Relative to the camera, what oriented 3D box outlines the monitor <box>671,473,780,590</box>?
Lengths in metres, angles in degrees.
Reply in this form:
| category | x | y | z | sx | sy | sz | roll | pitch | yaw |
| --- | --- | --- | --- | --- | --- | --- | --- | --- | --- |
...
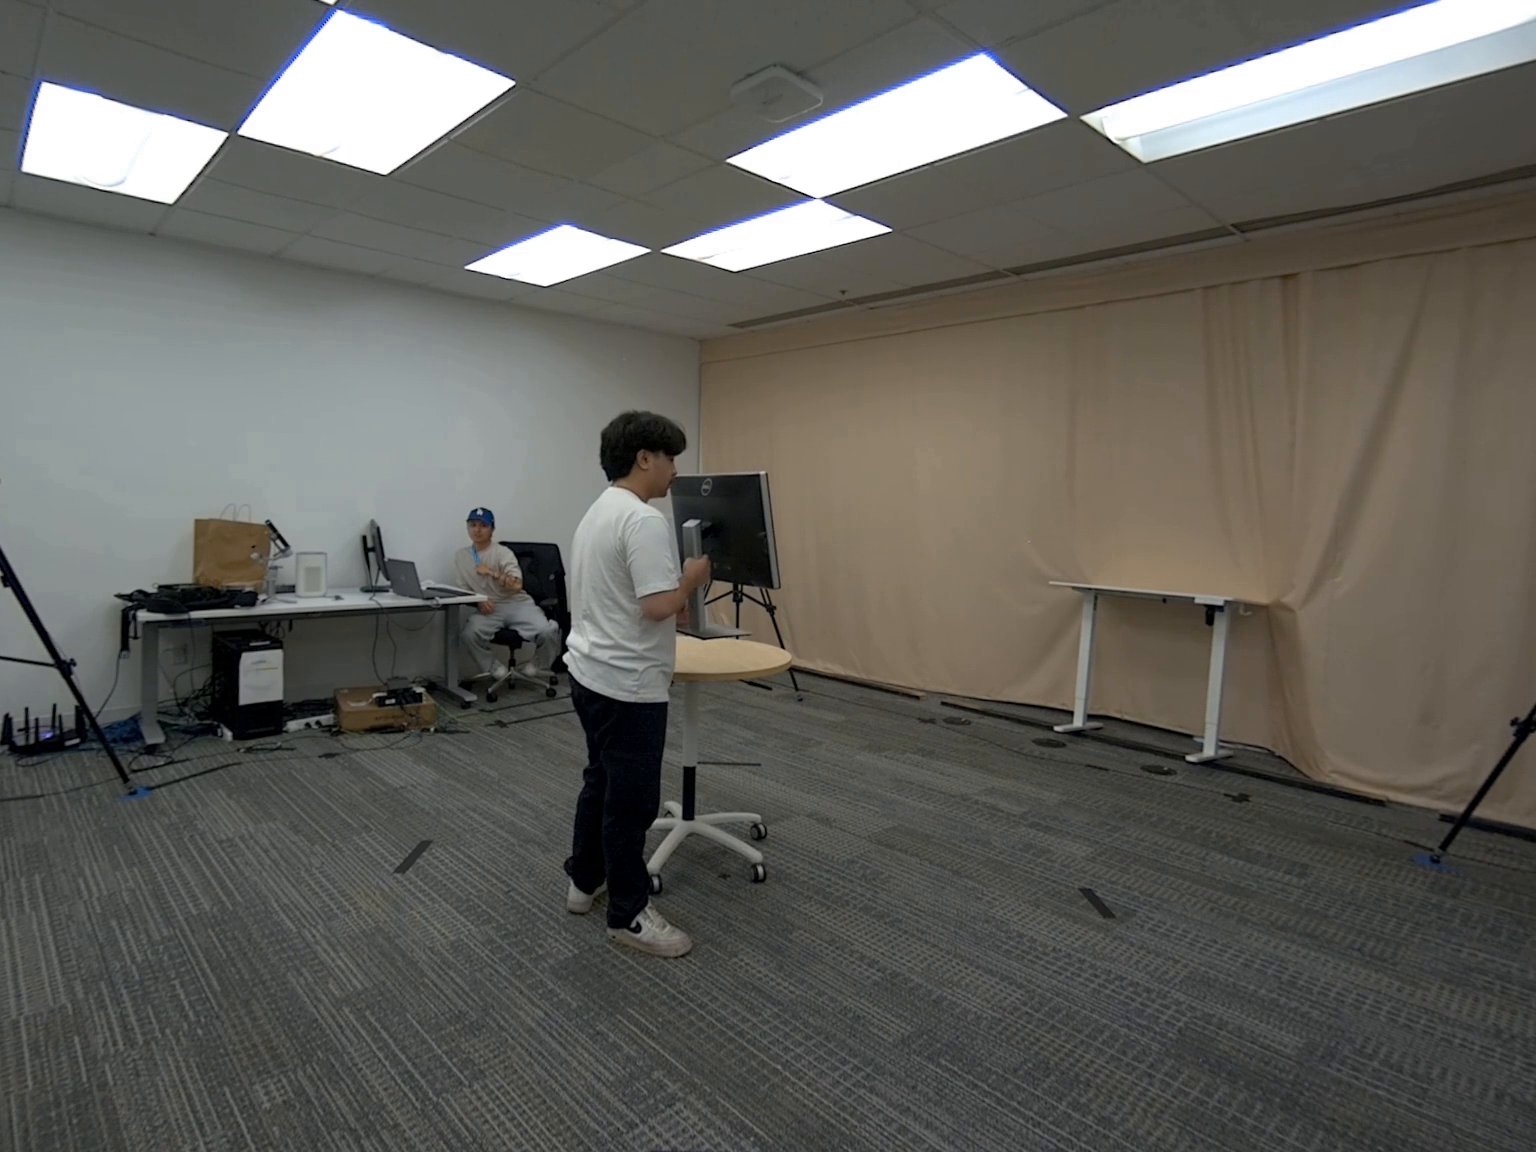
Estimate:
| category | x | y | z | sx | sy | sz | roll | pitch | yaw |
| --- | --- | --- | --- | --- | --- | --- | --- | --- | --- |
| monitor | -0.219 | -0.067 | 2.753 | 0.206 | 0.551 | 0.579 | -6 | 8 | -35 |
